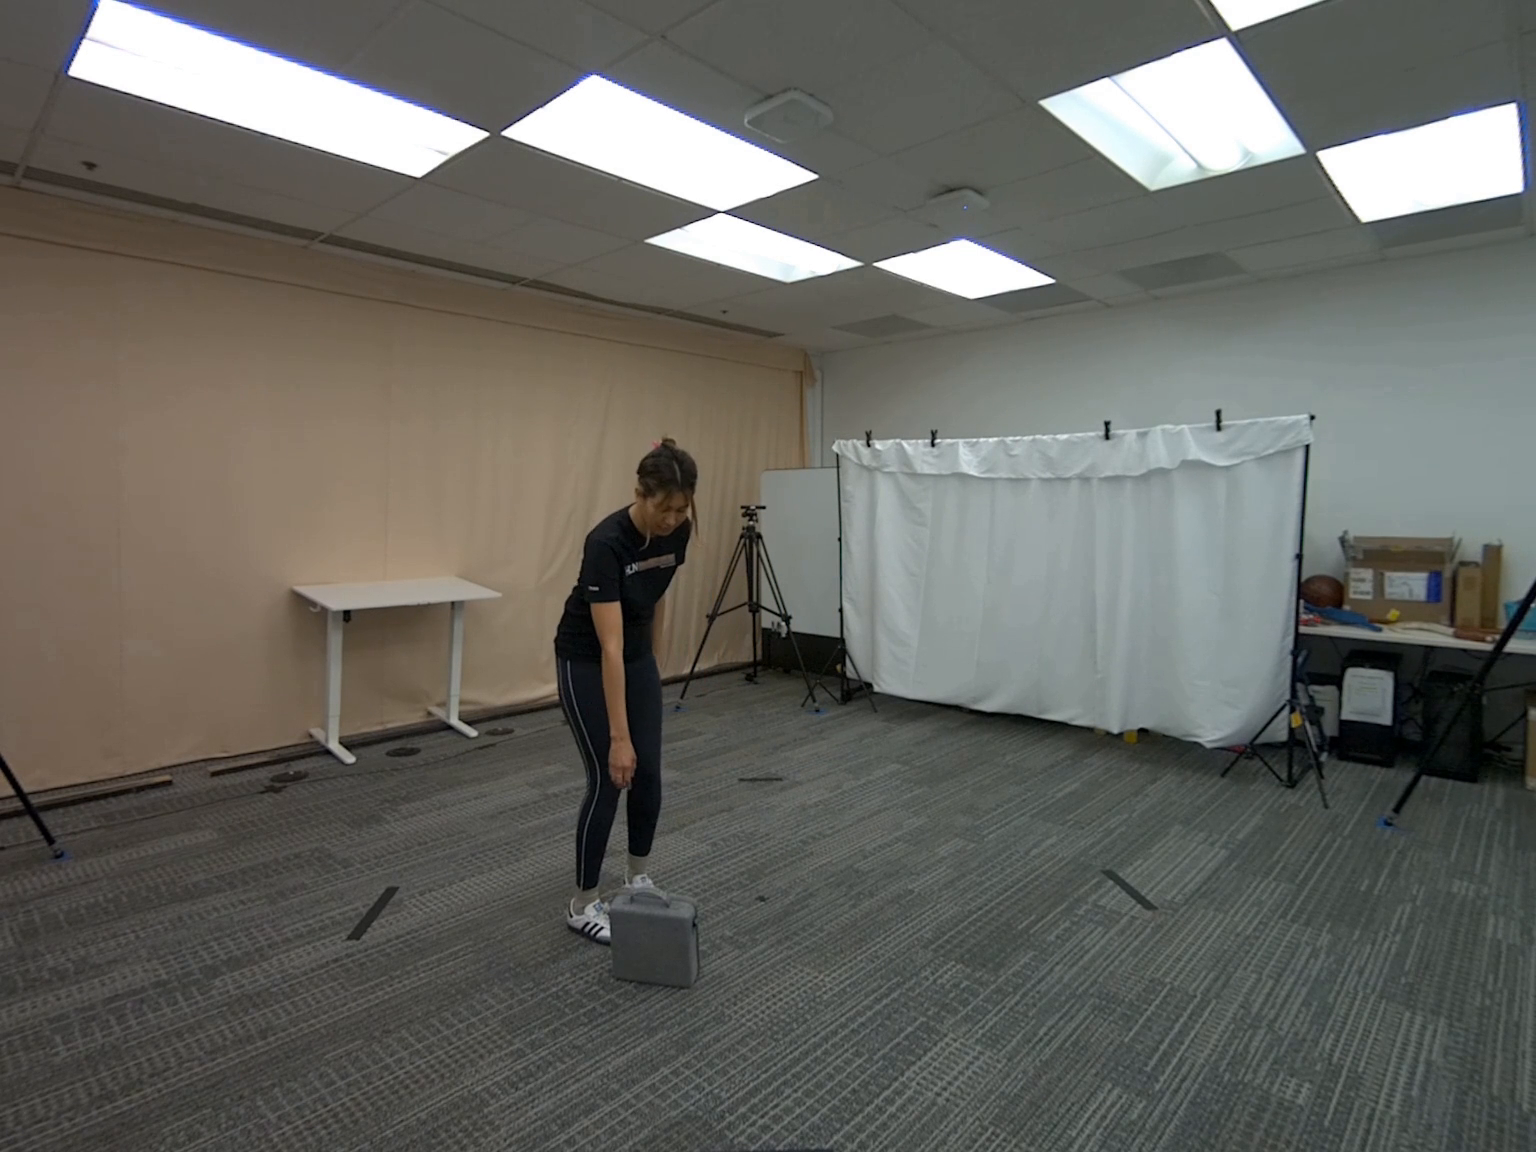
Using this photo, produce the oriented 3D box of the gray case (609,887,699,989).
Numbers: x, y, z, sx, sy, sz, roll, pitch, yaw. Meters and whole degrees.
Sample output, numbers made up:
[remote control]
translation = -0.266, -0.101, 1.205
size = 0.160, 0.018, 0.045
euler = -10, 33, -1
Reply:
[gray case]
translation = -0.328, 1.060, 2.461
size = 0.261, 0.258, 0.103
euler = 1, 13, 14
